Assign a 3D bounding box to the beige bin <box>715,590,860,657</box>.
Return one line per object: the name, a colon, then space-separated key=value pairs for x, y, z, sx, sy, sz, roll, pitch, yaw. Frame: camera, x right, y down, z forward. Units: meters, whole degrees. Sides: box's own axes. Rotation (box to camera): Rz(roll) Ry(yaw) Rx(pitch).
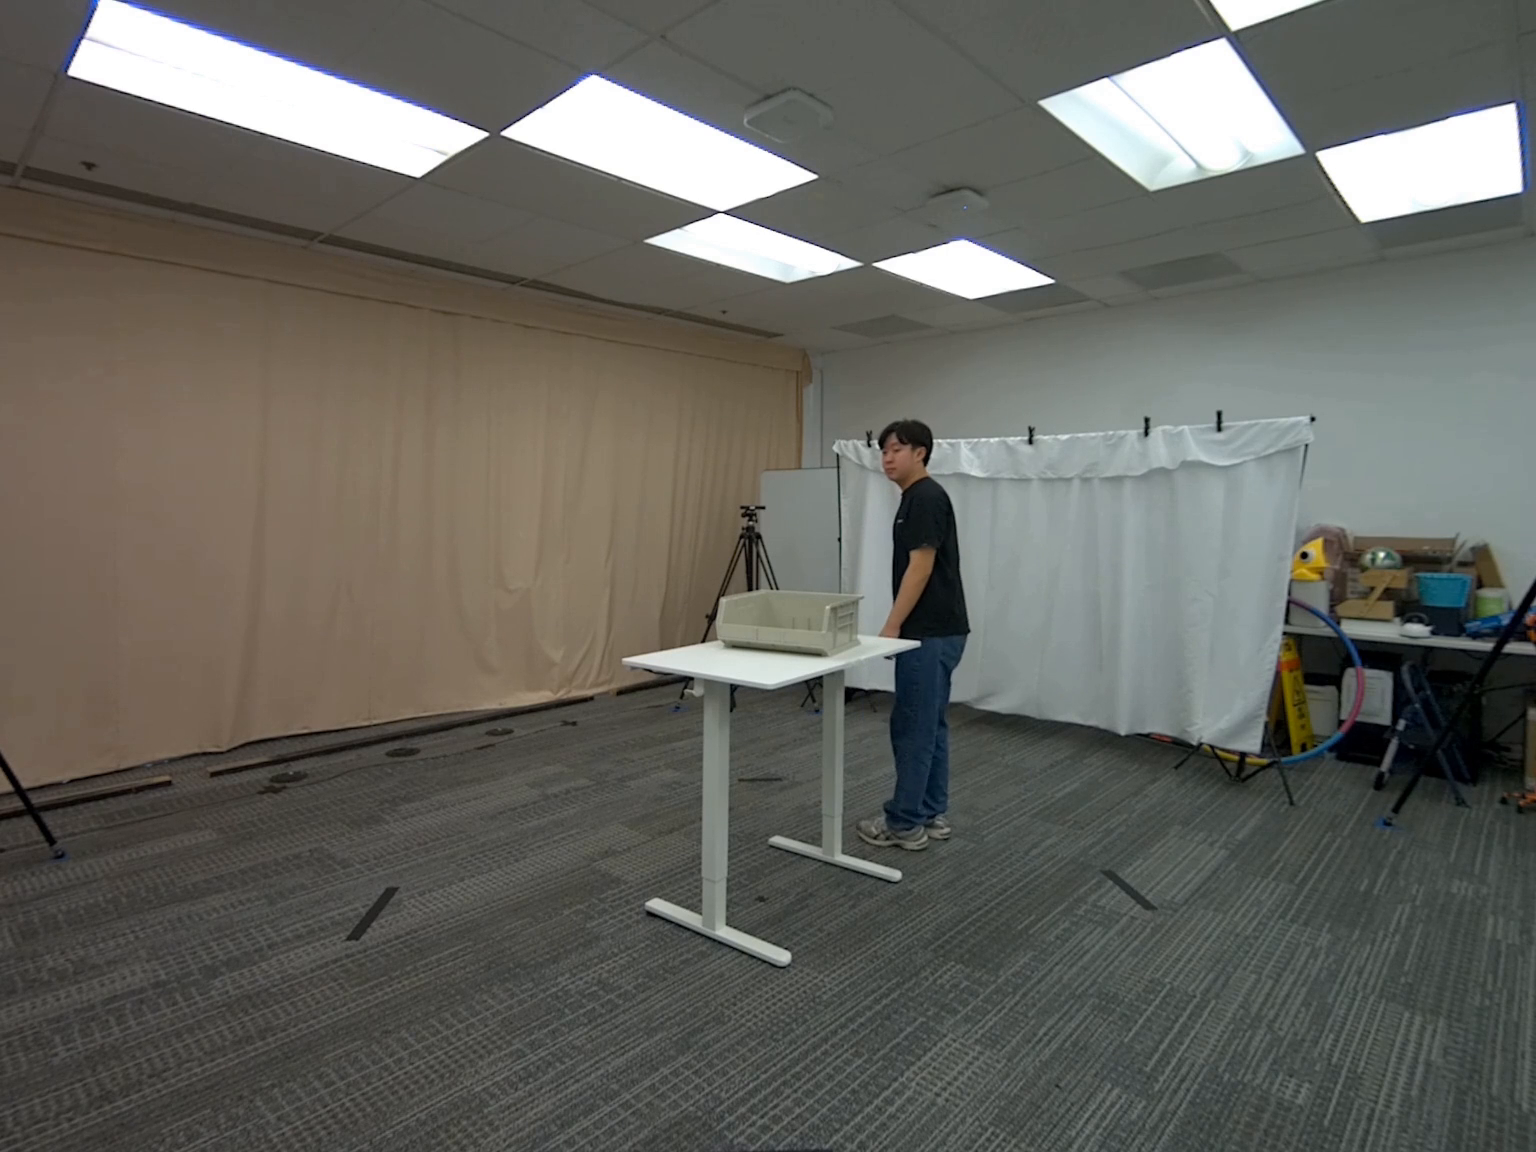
beige bin: x=0.090 y=0.170 z=3.049 sx=0.434 sy=0.189 sz=0.368 roll=2 pitch=4 yaw=28
